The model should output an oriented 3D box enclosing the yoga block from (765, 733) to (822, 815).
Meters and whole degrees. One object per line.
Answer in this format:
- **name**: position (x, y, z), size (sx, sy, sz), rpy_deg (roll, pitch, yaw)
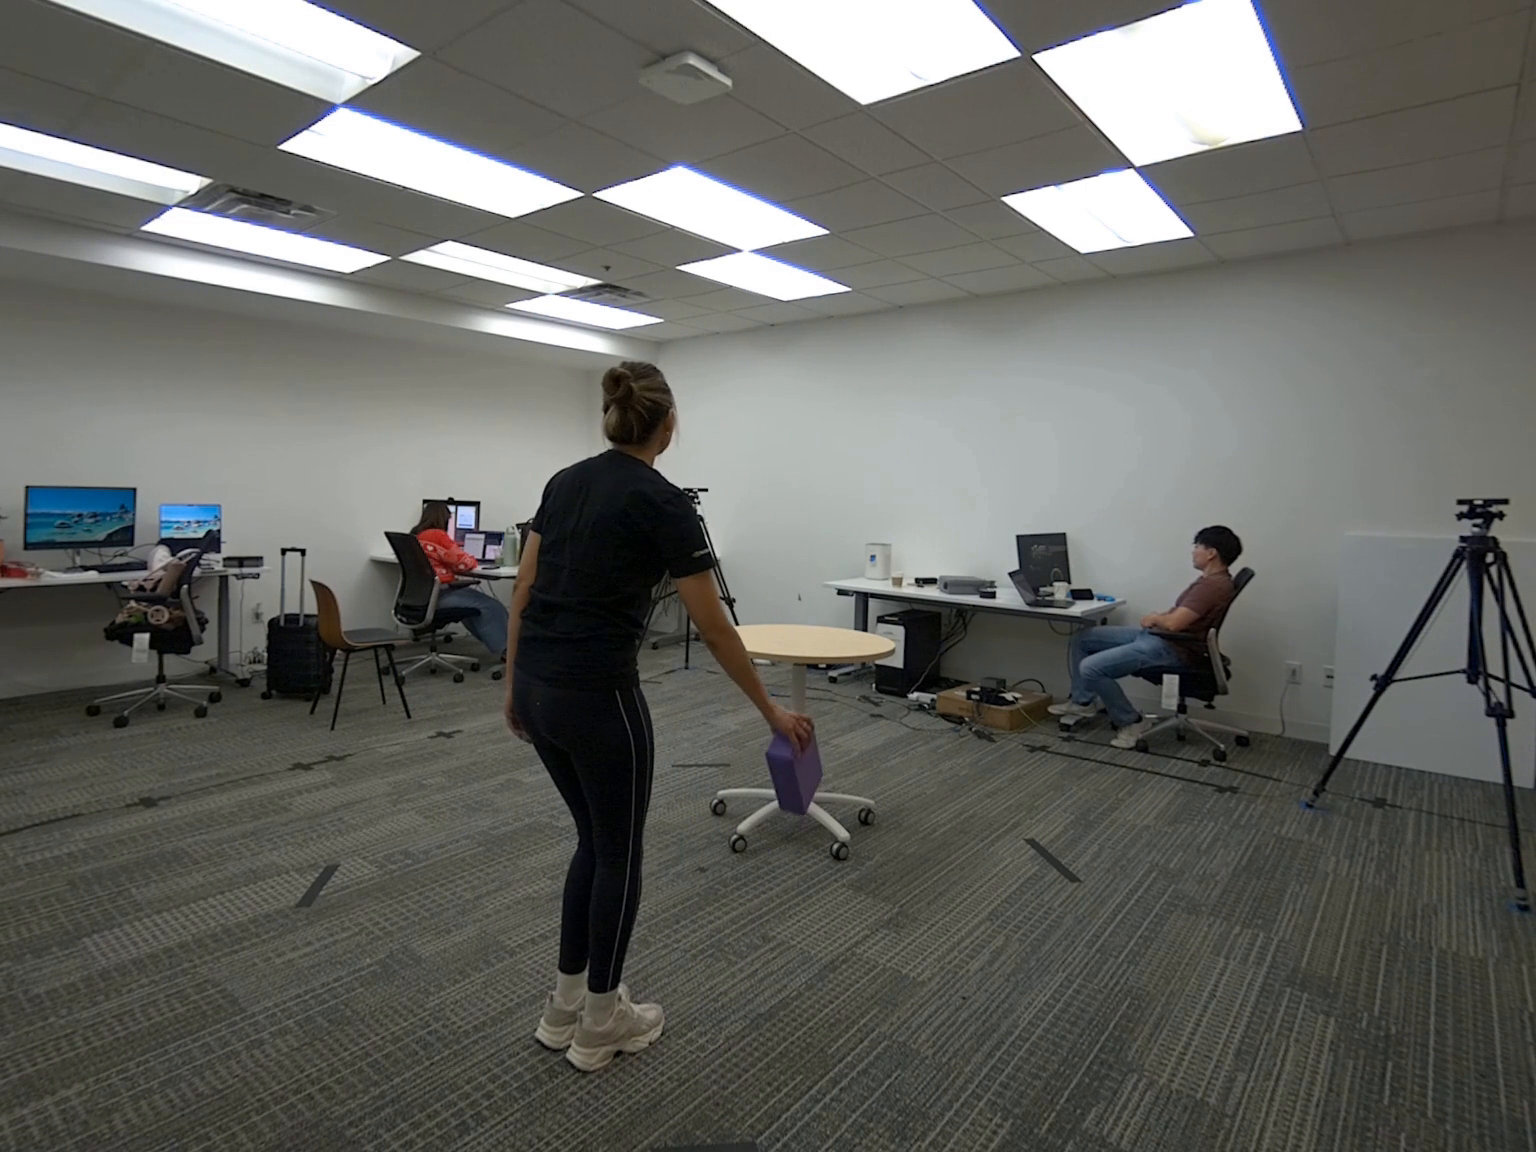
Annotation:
- **yoga block**: position (0.055, 0.479, 2.189), size (0.079, 0.222, 0.149), rpy_deg (6, 37, 27)
